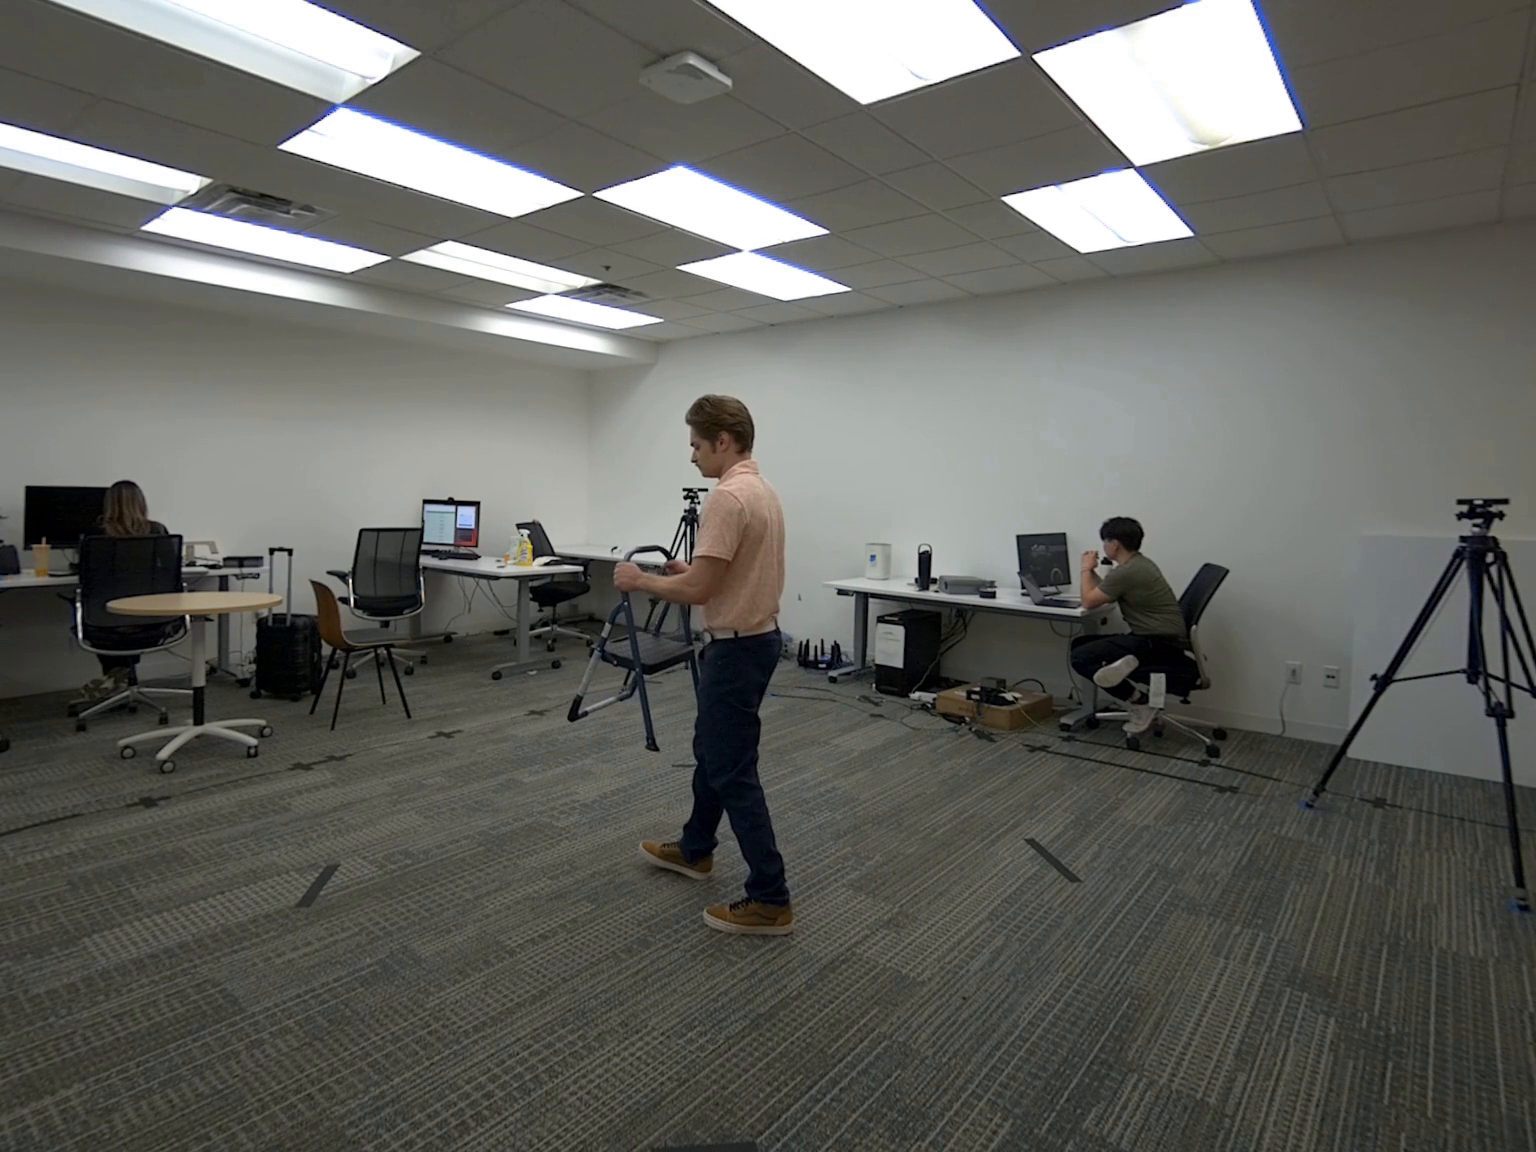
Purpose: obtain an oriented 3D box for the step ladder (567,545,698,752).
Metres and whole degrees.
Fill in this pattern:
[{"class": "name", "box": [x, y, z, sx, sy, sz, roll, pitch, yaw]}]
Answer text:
[{"class": "step ladder", "box": [-0.411, 0.209, 2.935, 0.358, 0.603, 0.422, 12, 7, 20]}]
